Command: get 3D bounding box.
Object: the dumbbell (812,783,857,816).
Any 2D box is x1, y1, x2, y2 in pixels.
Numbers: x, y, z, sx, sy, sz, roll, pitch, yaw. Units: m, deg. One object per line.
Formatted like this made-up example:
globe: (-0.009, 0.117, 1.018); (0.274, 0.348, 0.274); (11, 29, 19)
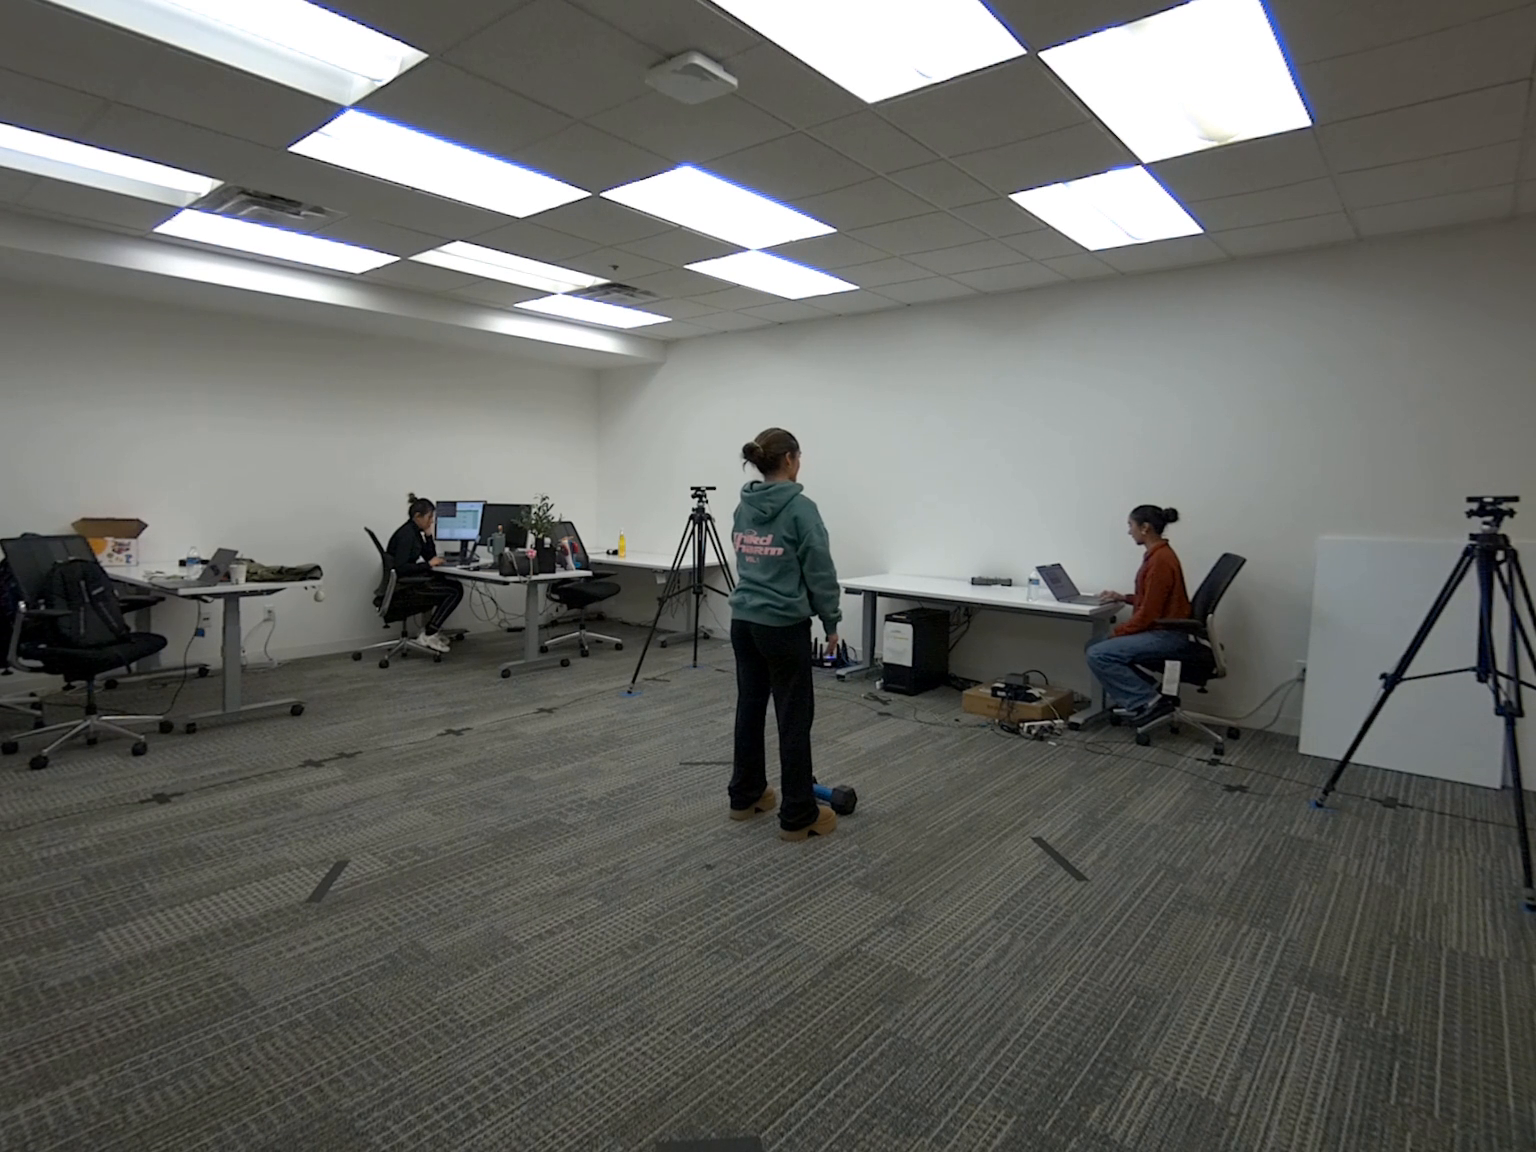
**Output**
dumbbell: (0.235, 0.954, 3.748); (0.304, 0.124, 0.104); (6, -26, 43)
